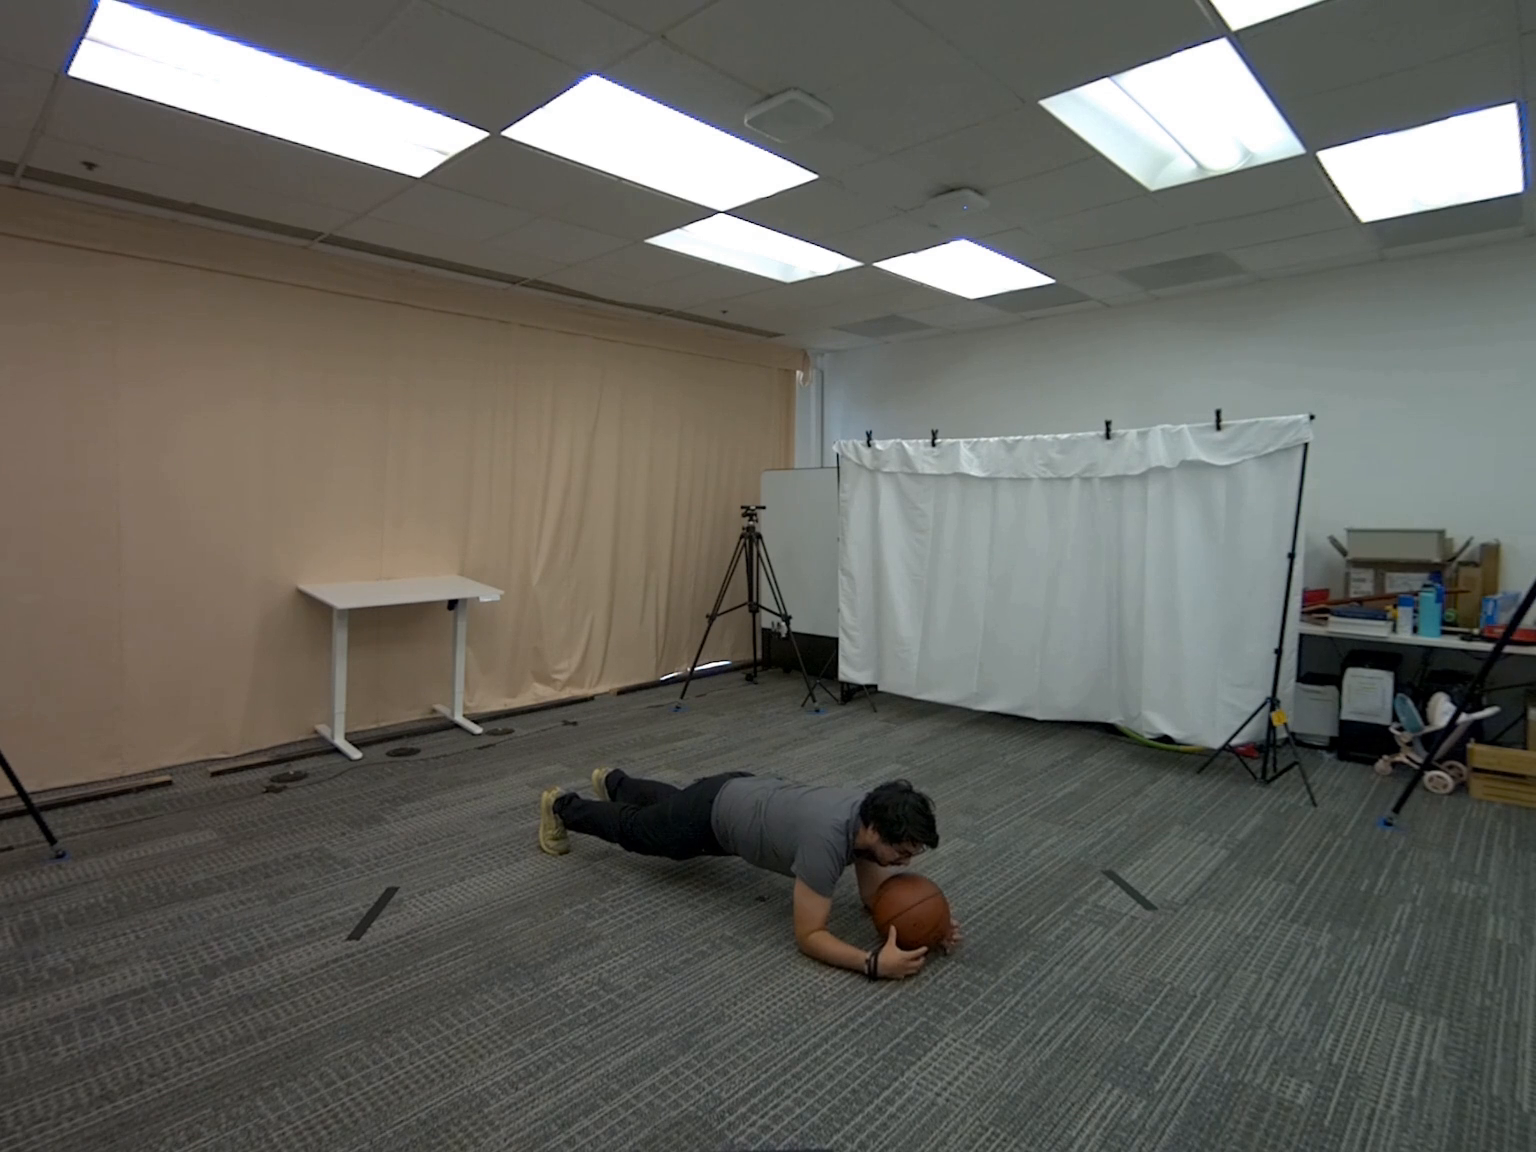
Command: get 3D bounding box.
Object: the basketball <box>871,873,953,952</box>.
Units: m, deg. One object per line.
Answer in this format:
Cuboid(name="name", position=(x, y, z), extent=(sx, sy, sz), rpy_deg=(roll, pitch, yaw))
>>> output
Cuboid(name="basketball", position=(0.452, 1.055, 2.612), extent=(0.236, 0.235, 0.237), rpy_deg=(0, 4, -2))
